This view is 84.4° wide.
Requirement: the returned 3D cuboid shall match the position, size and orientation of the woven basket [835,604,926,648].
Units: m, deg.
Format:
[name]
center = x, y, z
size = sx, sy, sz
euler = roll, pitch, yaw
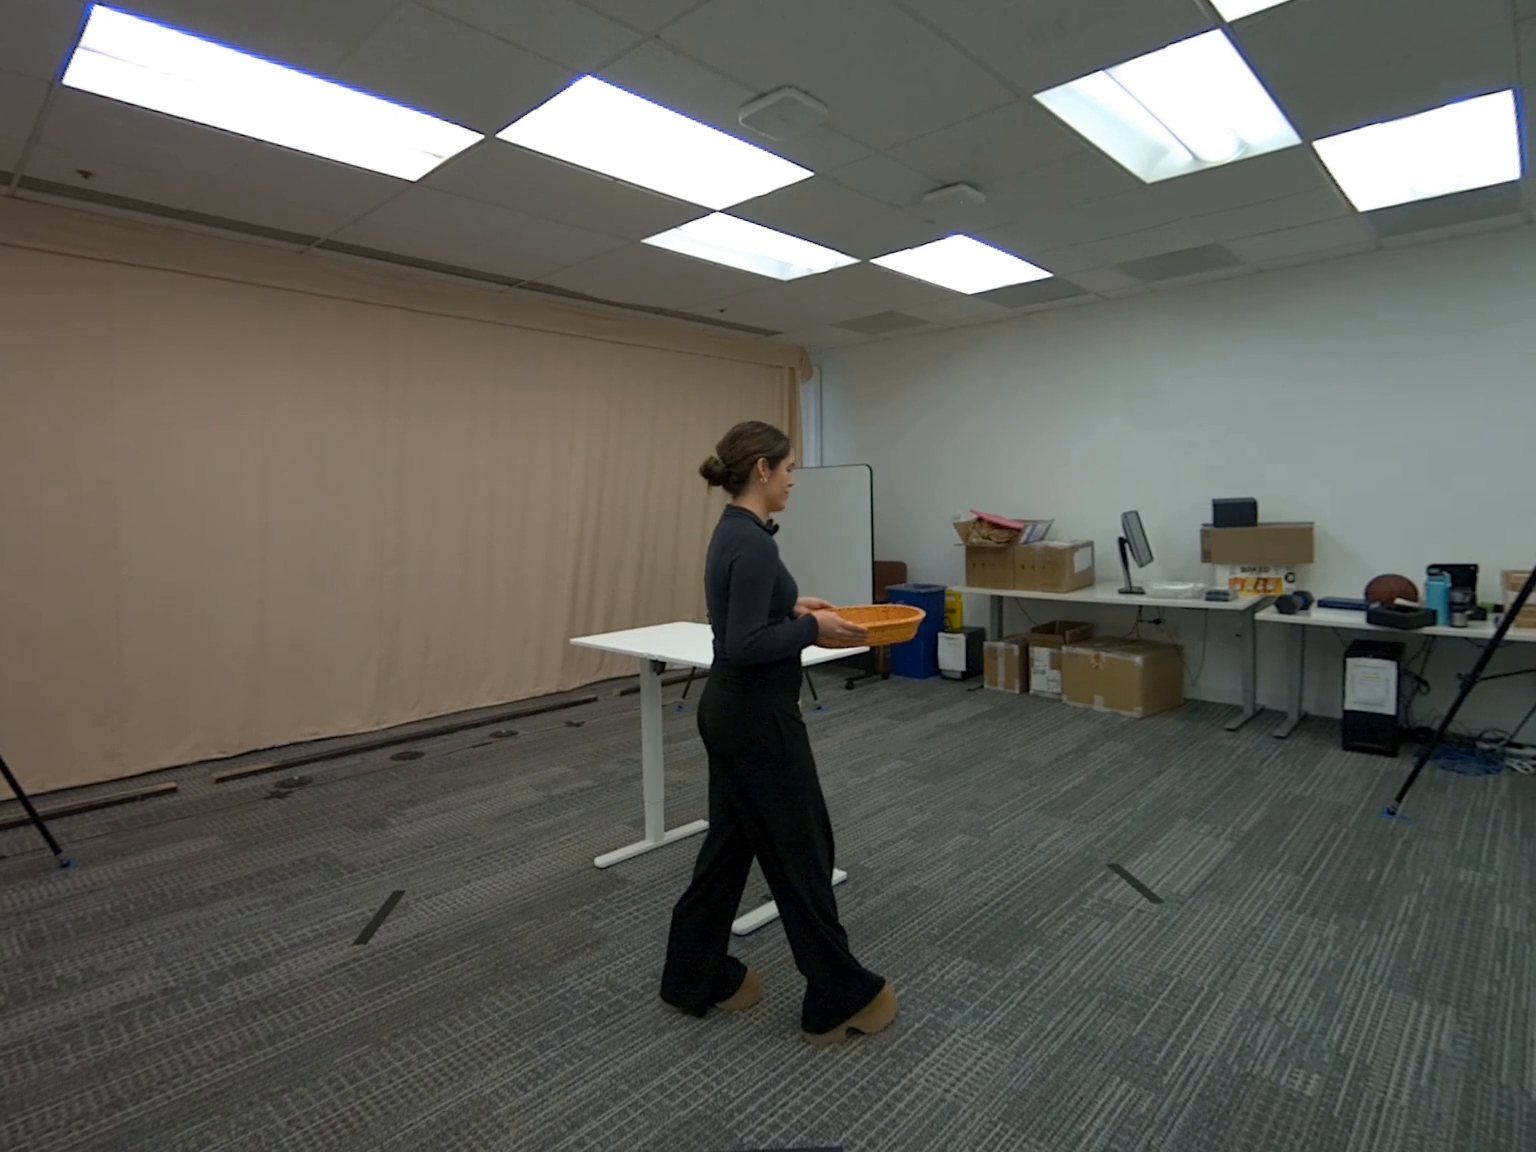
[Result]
[woven basket]
center = 0.224, 0.136, 2.240
size = 0.346, 0.073, 0.256
euler = 1, 7, -12
